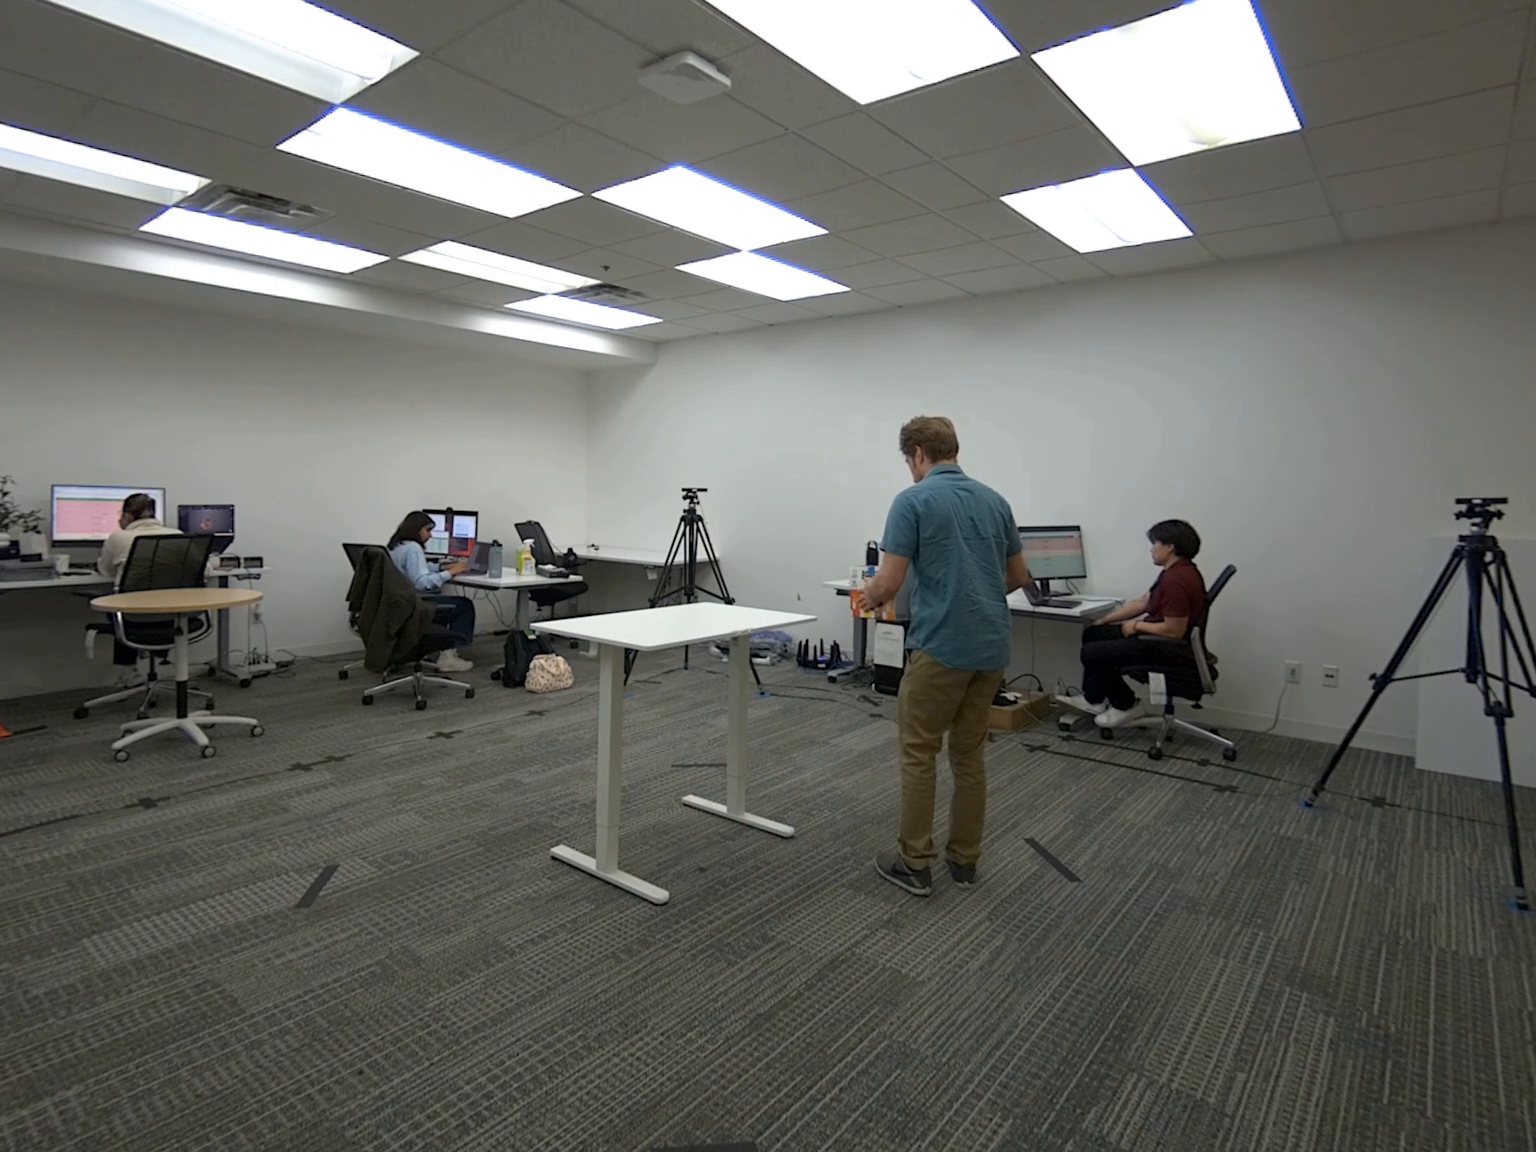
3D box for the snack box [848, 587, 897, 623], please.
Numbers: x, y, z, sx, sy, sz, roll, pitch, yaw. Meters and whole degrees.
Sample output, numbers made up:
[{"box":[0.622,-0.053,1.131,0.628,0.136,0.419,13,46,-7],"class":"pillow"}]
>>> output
[{"box":[0.573,0.055,3.344,0.397,0.206,0.347,-1,1,-22],"class":"snack box"}]
